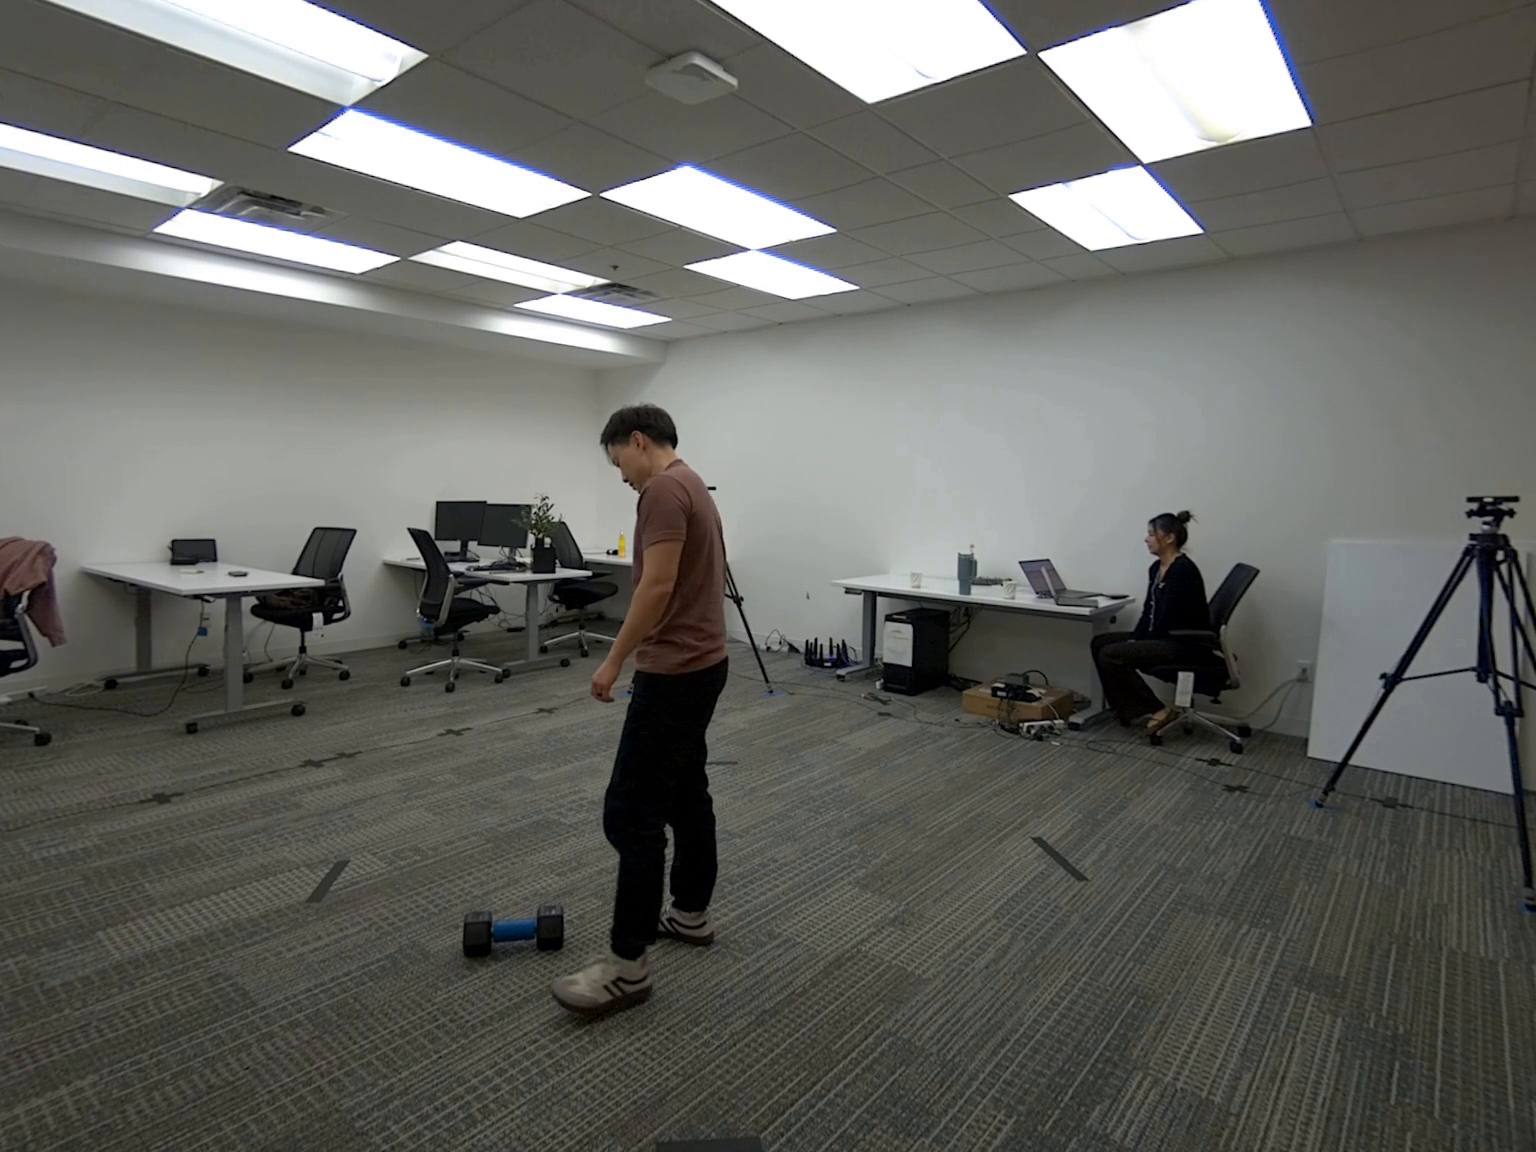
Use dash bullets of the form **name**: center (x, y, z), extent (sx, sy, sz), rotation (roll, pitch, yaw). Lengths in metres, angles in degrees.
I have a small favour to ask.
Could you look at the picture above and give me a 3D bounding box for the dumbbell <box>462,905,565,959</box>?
- **dumbbell**: center (-0.774, 1.064, 2.554), extent (0.290, 0.108, 0.125), rotation (1, 5, -11)
